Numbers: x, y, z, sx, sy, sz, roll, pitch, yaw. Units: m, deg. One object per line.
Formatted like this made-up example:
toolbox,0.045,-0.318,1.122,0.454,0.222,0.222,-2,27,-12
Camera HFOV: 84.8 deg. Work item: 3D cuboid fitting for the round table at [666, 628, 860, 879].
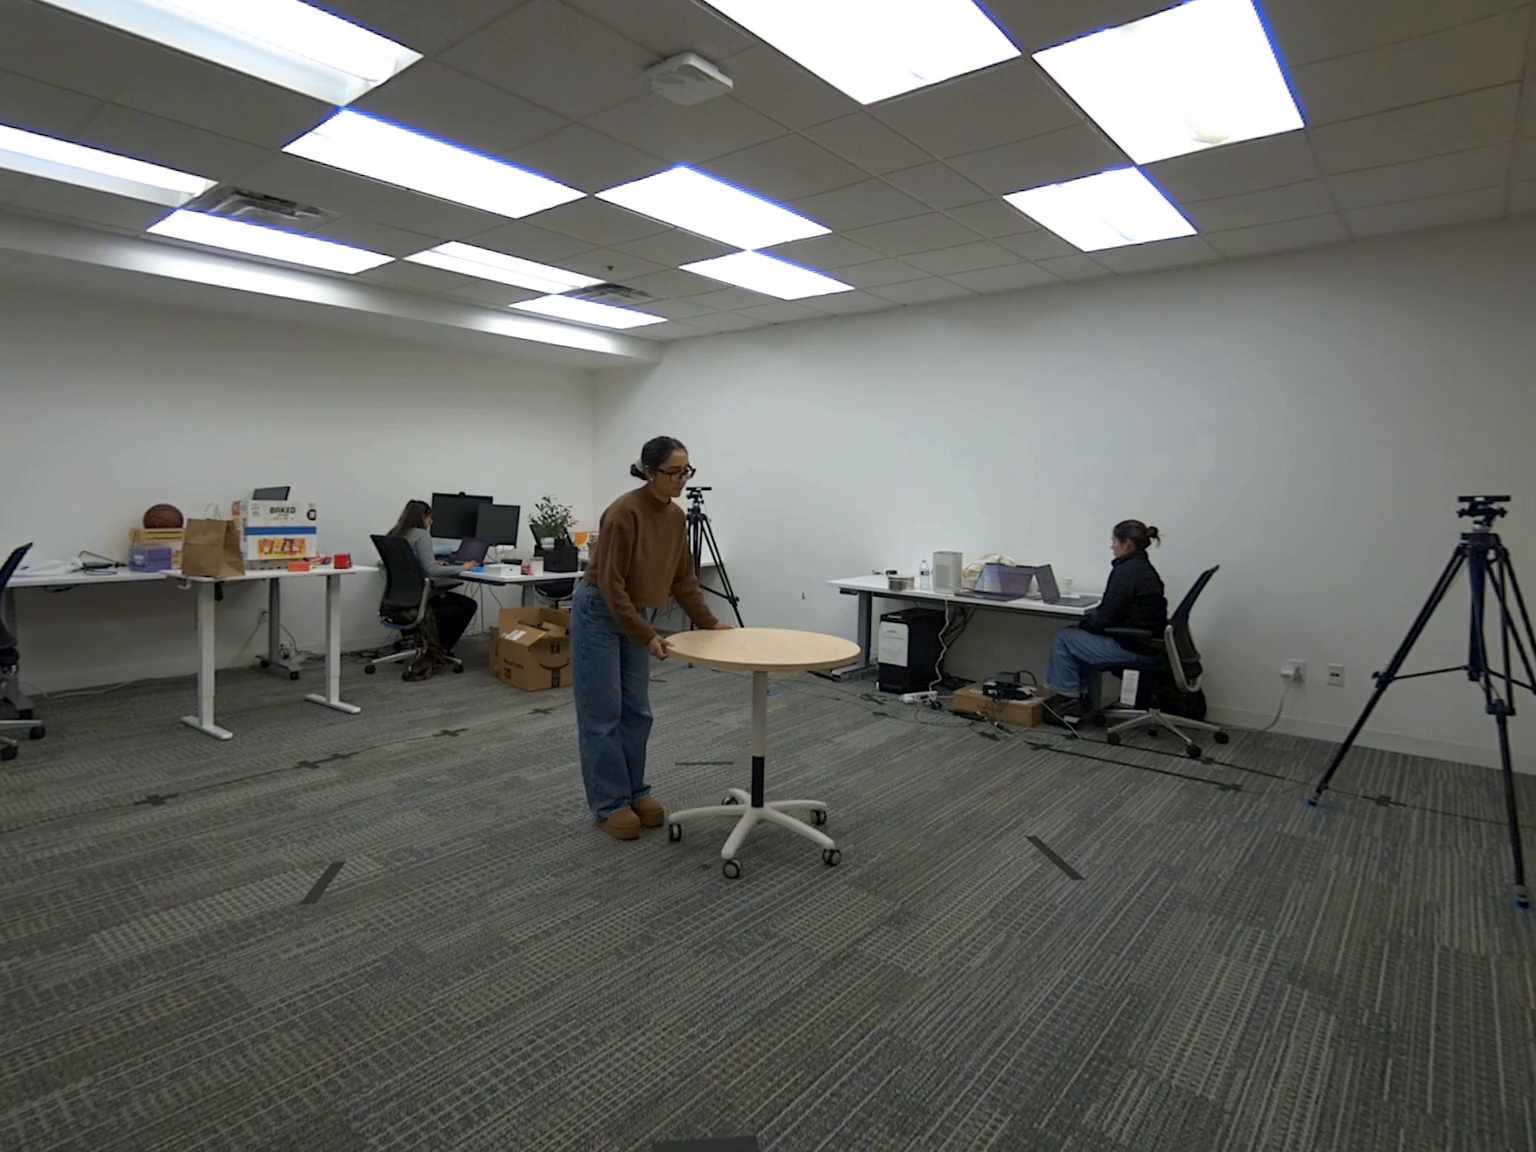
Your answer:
round table,-0.049,0.655,3.336,0.763,0.791,0.768,1,4,-2
